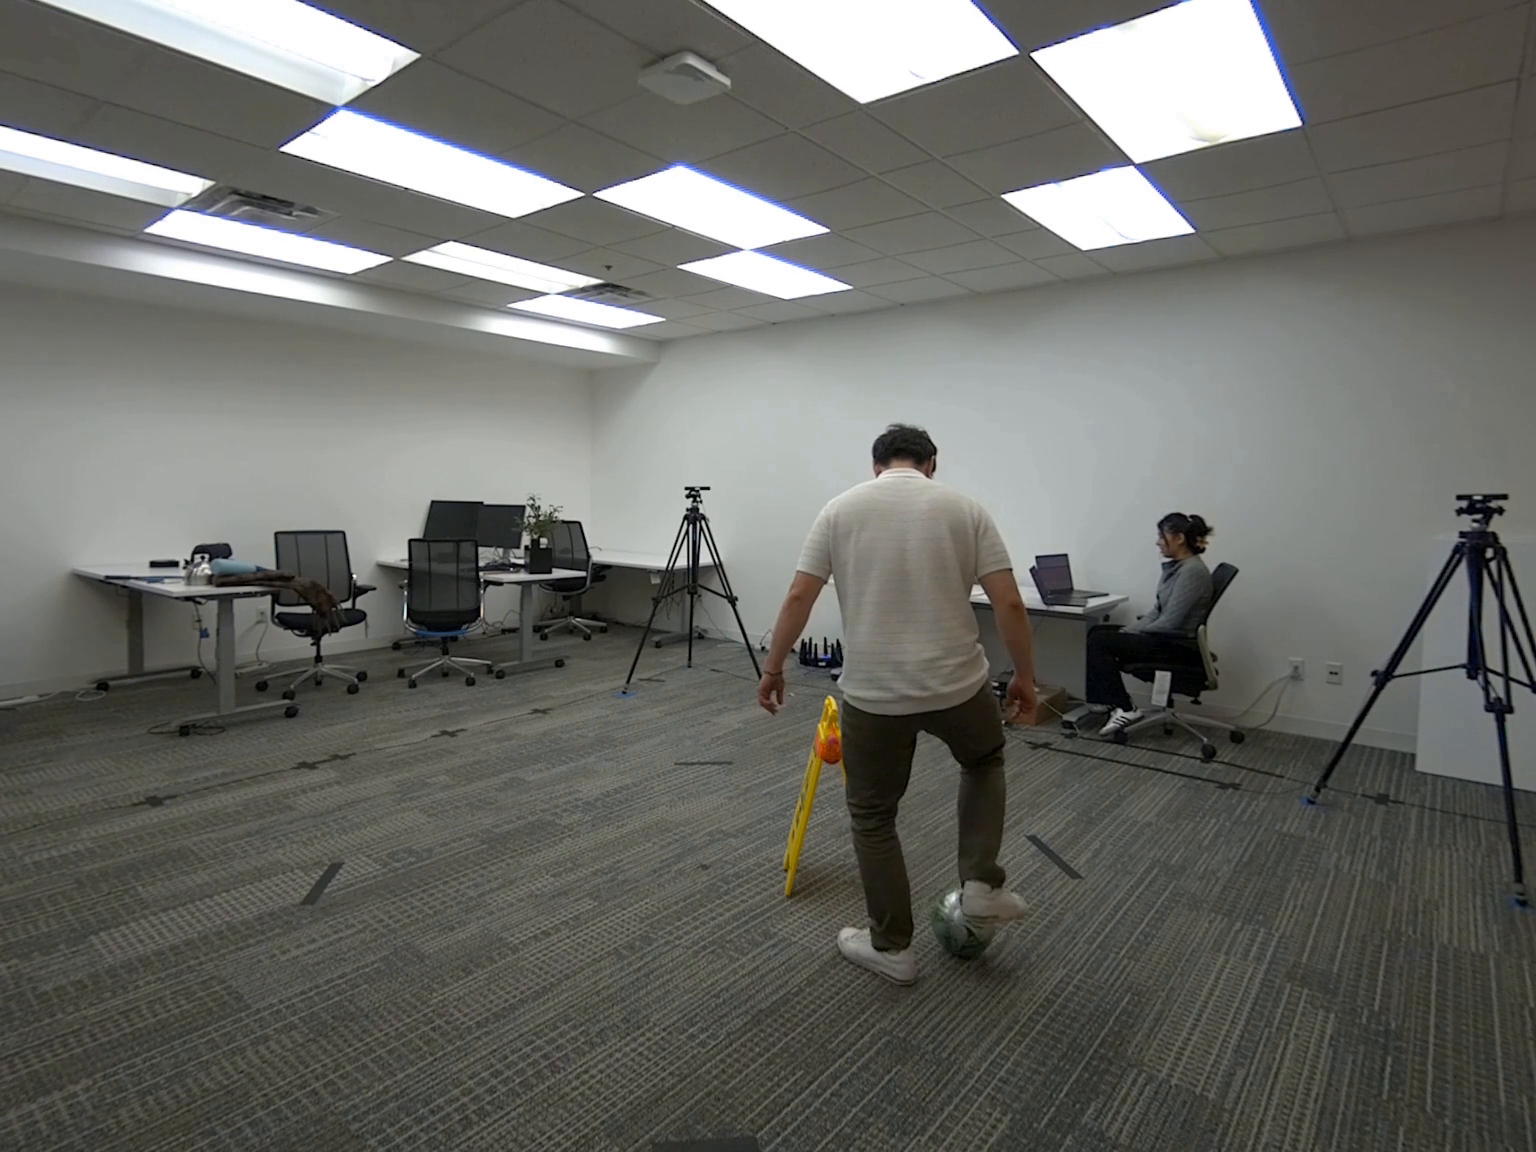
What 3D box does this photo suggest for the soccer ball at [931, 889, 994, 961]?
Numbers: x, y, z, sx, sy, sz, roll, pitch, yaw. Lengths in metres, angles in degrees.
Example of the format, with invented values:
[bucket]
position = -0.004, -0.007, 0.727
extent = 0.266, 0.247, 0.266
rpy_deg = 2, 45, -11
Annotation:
[soccer ball]
position = 0.579, 1.044, 2.571
extent = 0.187, 0.187, 0.188
rpy_deg = 0, 4, -2
